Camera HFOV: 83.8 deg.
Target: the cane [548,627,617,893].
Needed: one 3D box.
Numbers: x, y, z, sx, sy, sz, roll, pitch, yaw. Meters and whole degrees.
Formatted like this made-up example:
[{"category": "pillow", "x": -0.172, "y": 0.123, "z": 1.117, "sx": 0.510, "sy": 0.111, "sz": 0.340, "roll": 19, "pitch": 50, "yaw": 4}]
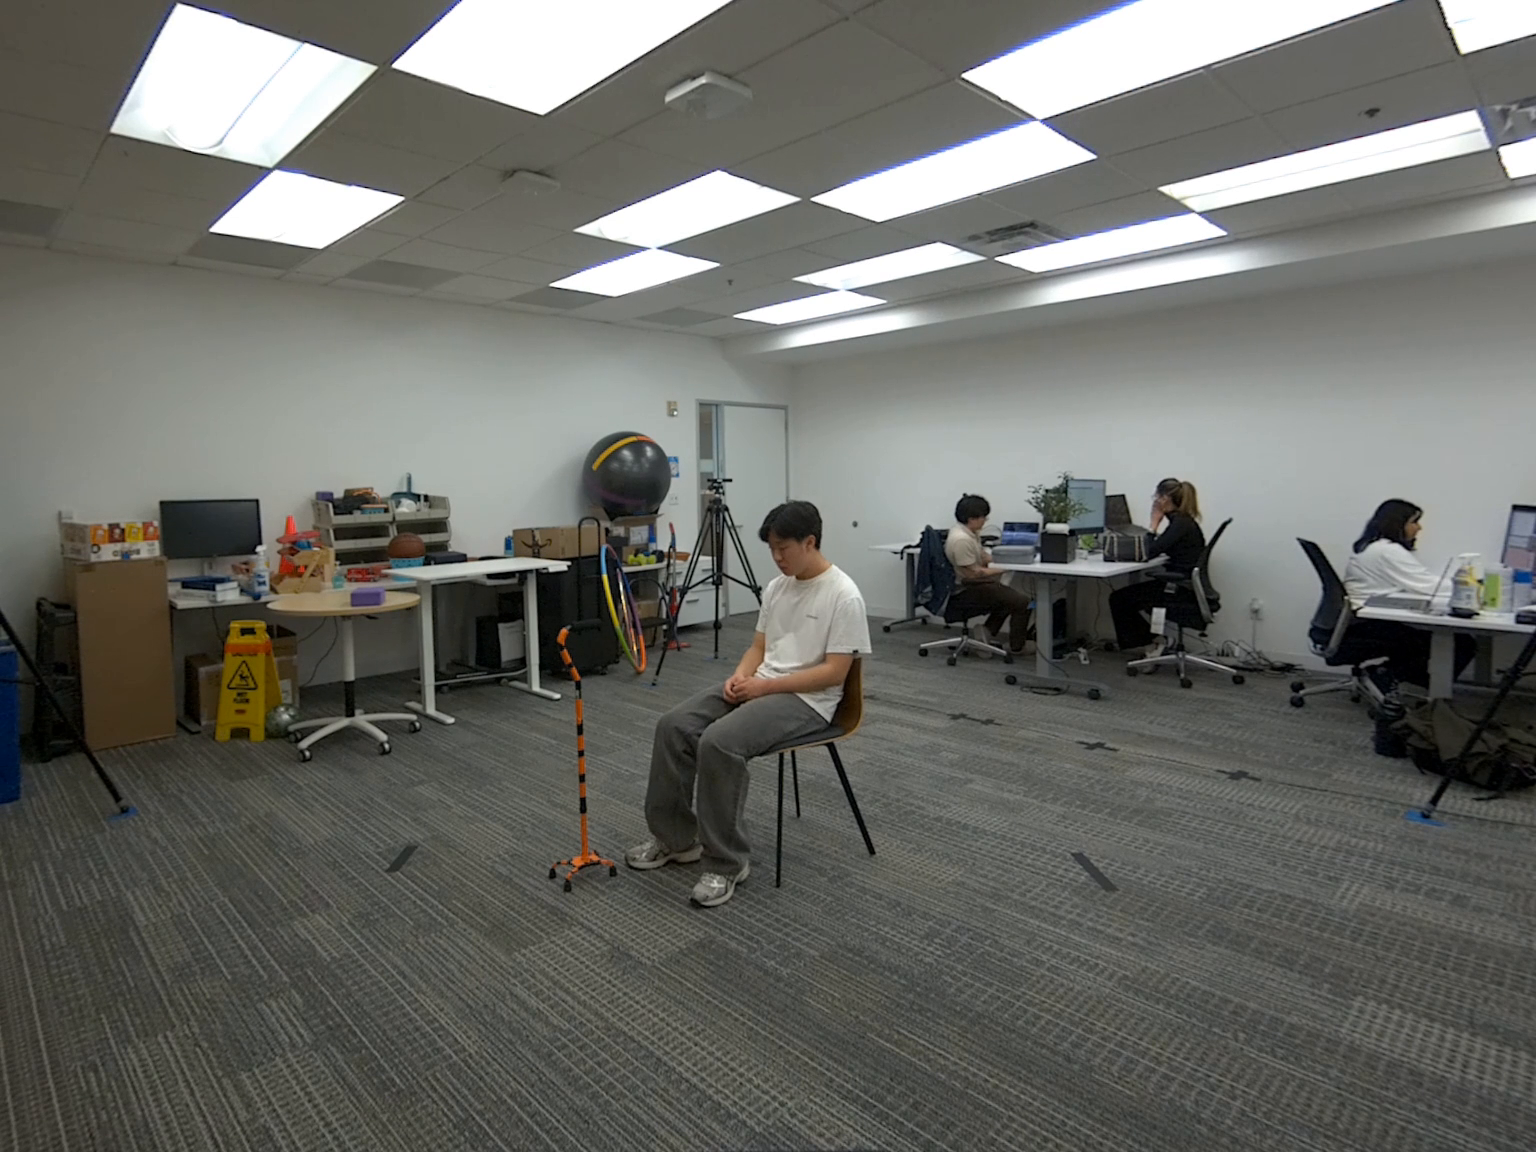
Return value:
[{"category": "cane", "x": -0.668, "y": 0.612, "z": 3.007, "sx": 0.201, "sy": 0.904, "sz": 0.156, "roll": -5, "pitch": 5, "yaw": -38}]
